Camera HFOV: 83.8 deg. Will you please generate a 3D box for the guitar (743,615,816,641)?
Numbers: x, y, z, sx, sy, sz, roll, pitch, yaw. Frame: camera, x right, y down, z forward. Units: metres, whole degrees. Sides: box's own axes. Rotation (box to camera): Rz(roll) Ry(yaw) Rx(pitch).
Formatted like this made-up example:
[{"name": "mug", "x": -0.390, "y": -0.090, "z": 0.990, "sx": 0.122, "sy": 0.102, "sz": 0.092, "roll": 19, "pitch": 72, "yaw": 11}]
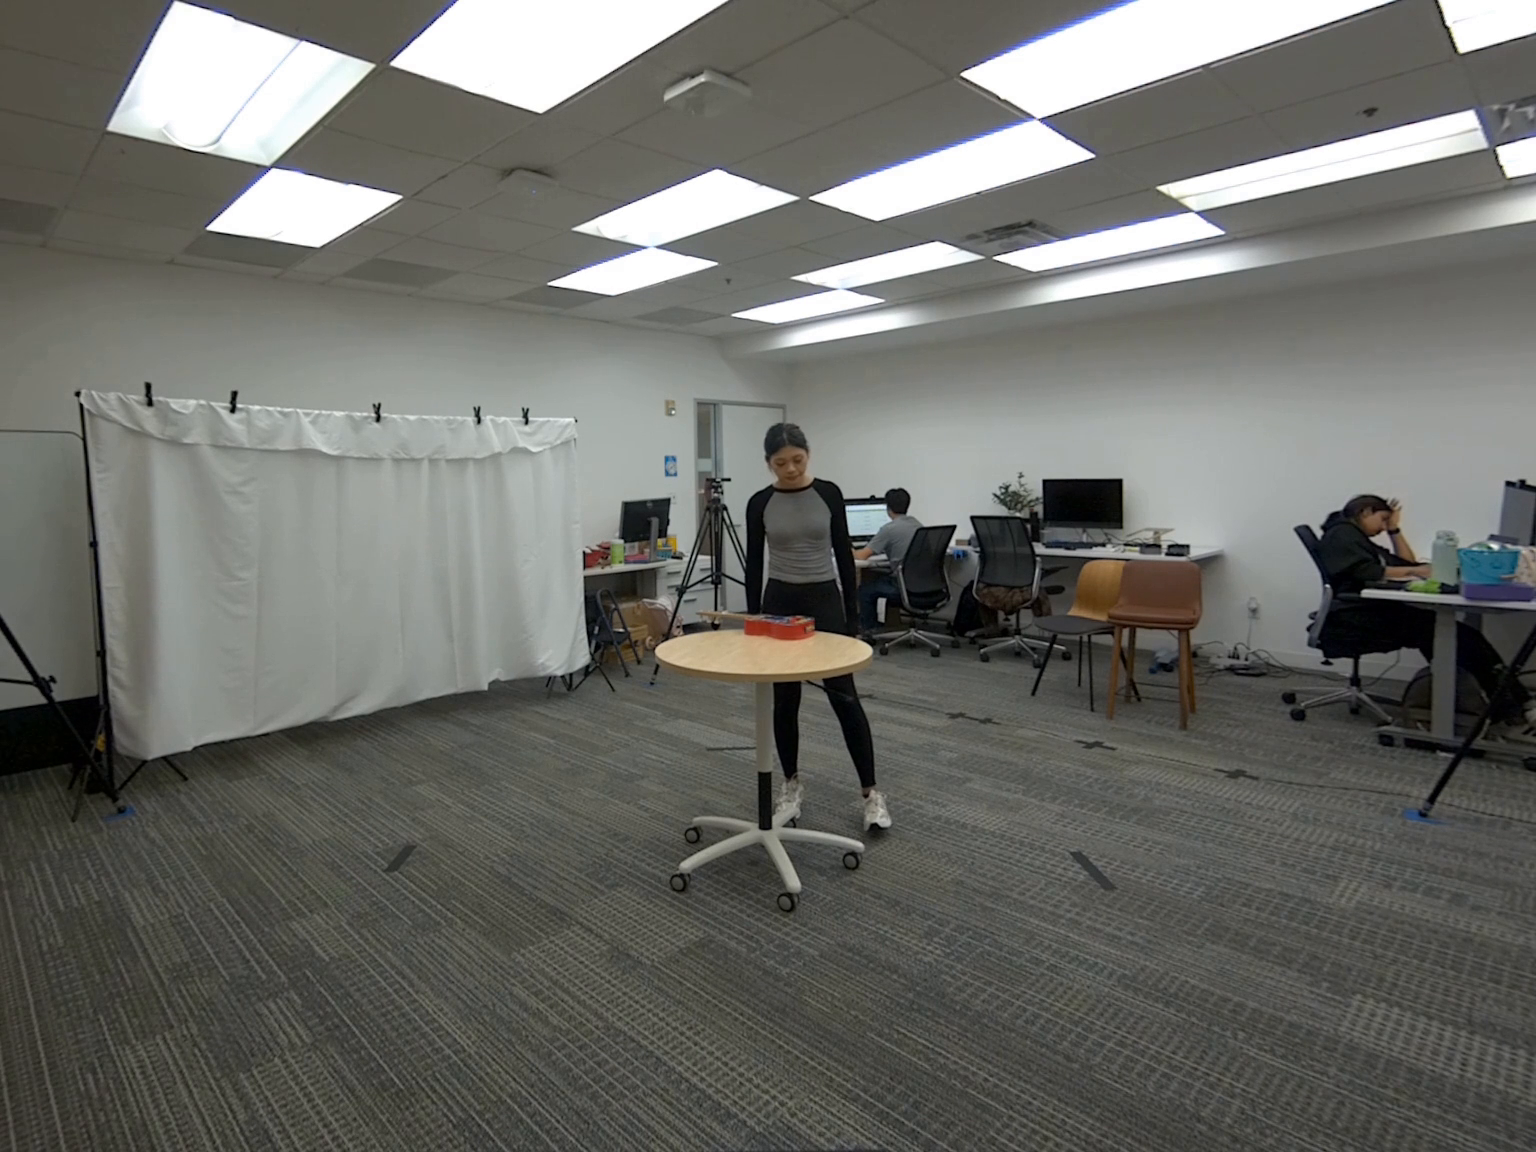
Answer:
[{"name": "guitar", "x": -0.047, "y": 0.183, "z": 3.381, "sx": 0.513, "sy": 0.070, "sz": 0.188, "roll": 5, "pitch": 10, "yaw": 40}]
